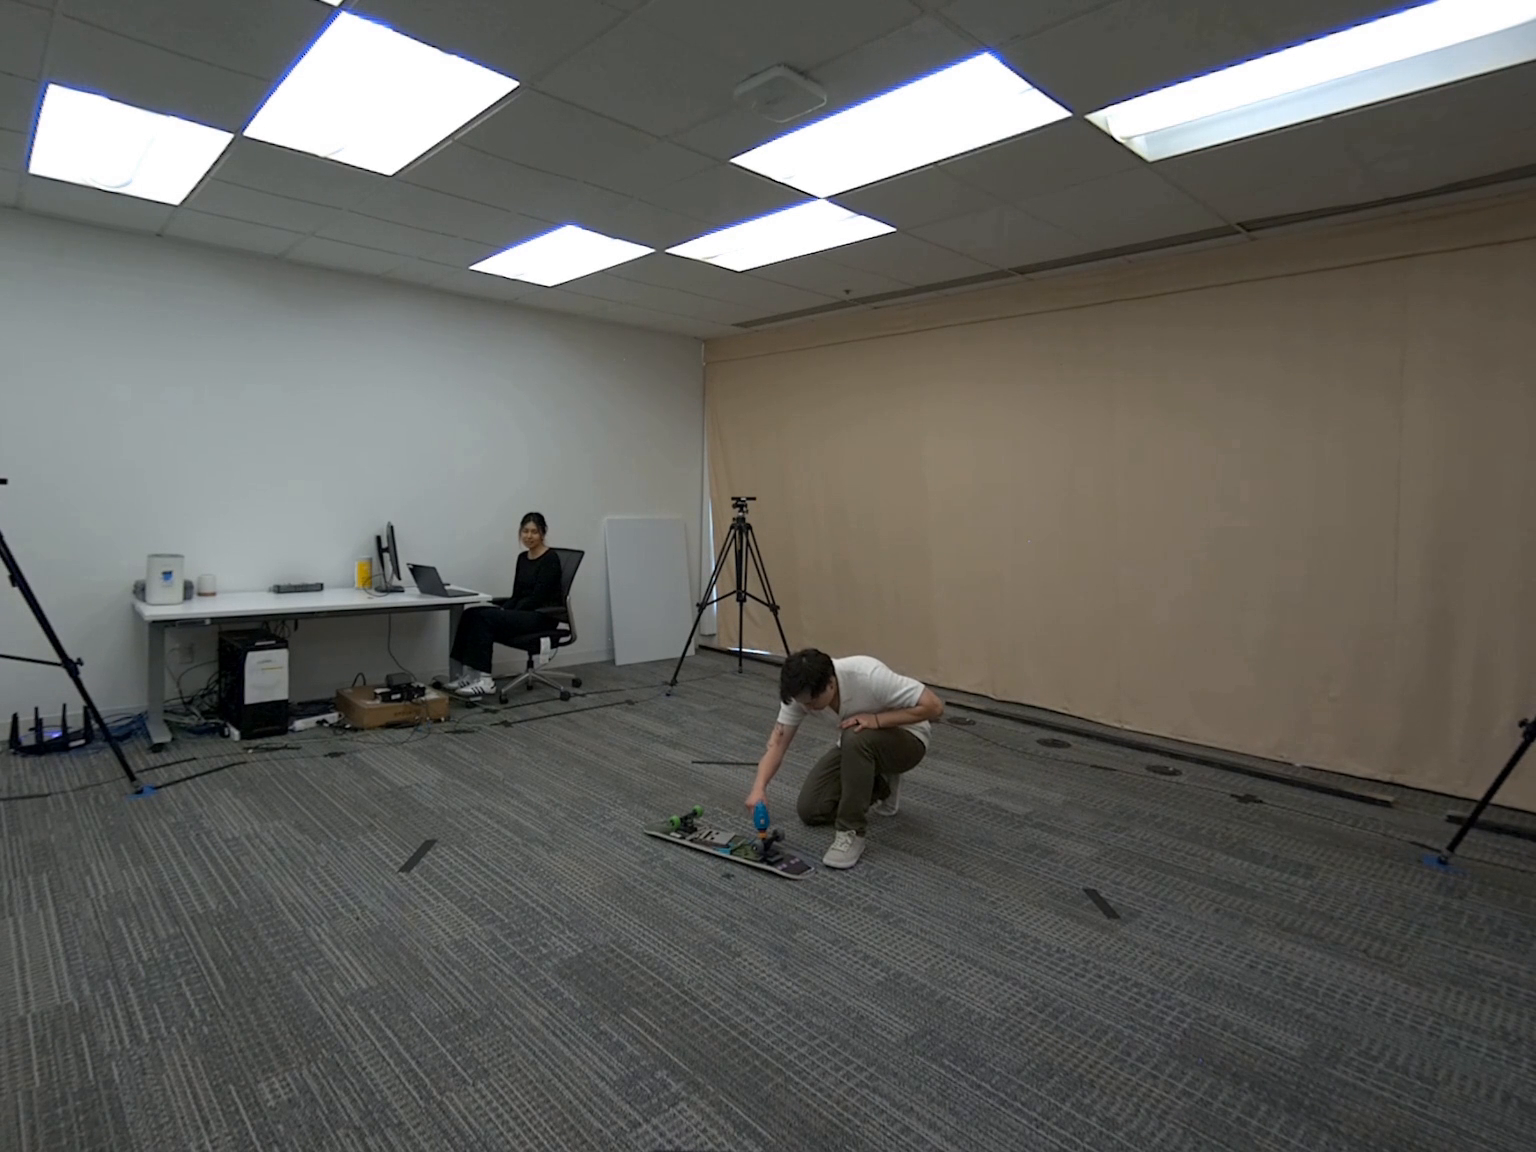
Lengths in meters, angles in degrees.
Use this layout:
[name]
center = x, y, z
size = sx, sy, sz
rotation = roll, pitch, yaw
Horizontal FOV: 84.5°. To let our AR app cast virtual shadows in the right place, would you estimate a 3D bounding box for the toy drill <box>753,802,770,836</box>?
[toy drill]
center = -0.032, 0.965, 3.296
size = 0.061, 0.170, 0.146
rotation = -9, -2, -4
